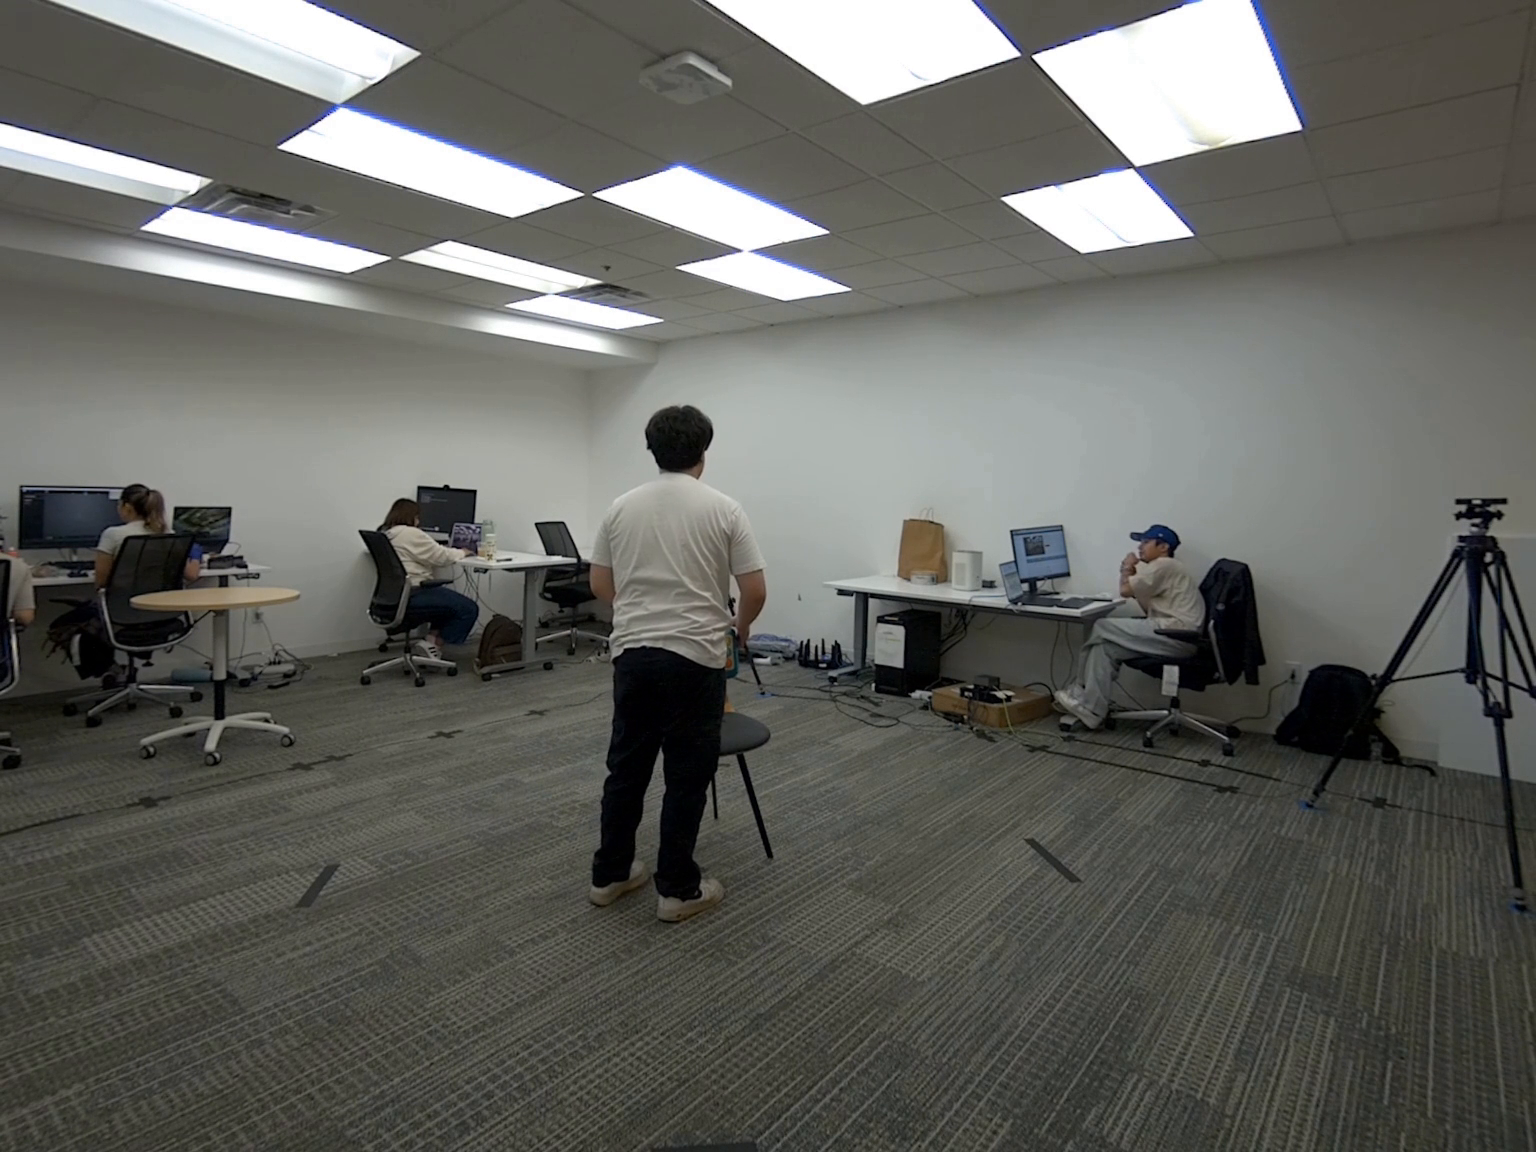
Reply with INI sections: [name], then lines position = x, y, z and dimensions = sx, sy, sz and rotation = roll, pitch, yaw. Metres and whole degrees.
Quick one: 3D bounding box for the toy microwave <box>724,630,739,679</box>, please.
[toy microwave]
position = -0.262, 0.284, 3.078
dimensions = 0.286, 0.184, 0.152
rotation = -4, 0, 0
